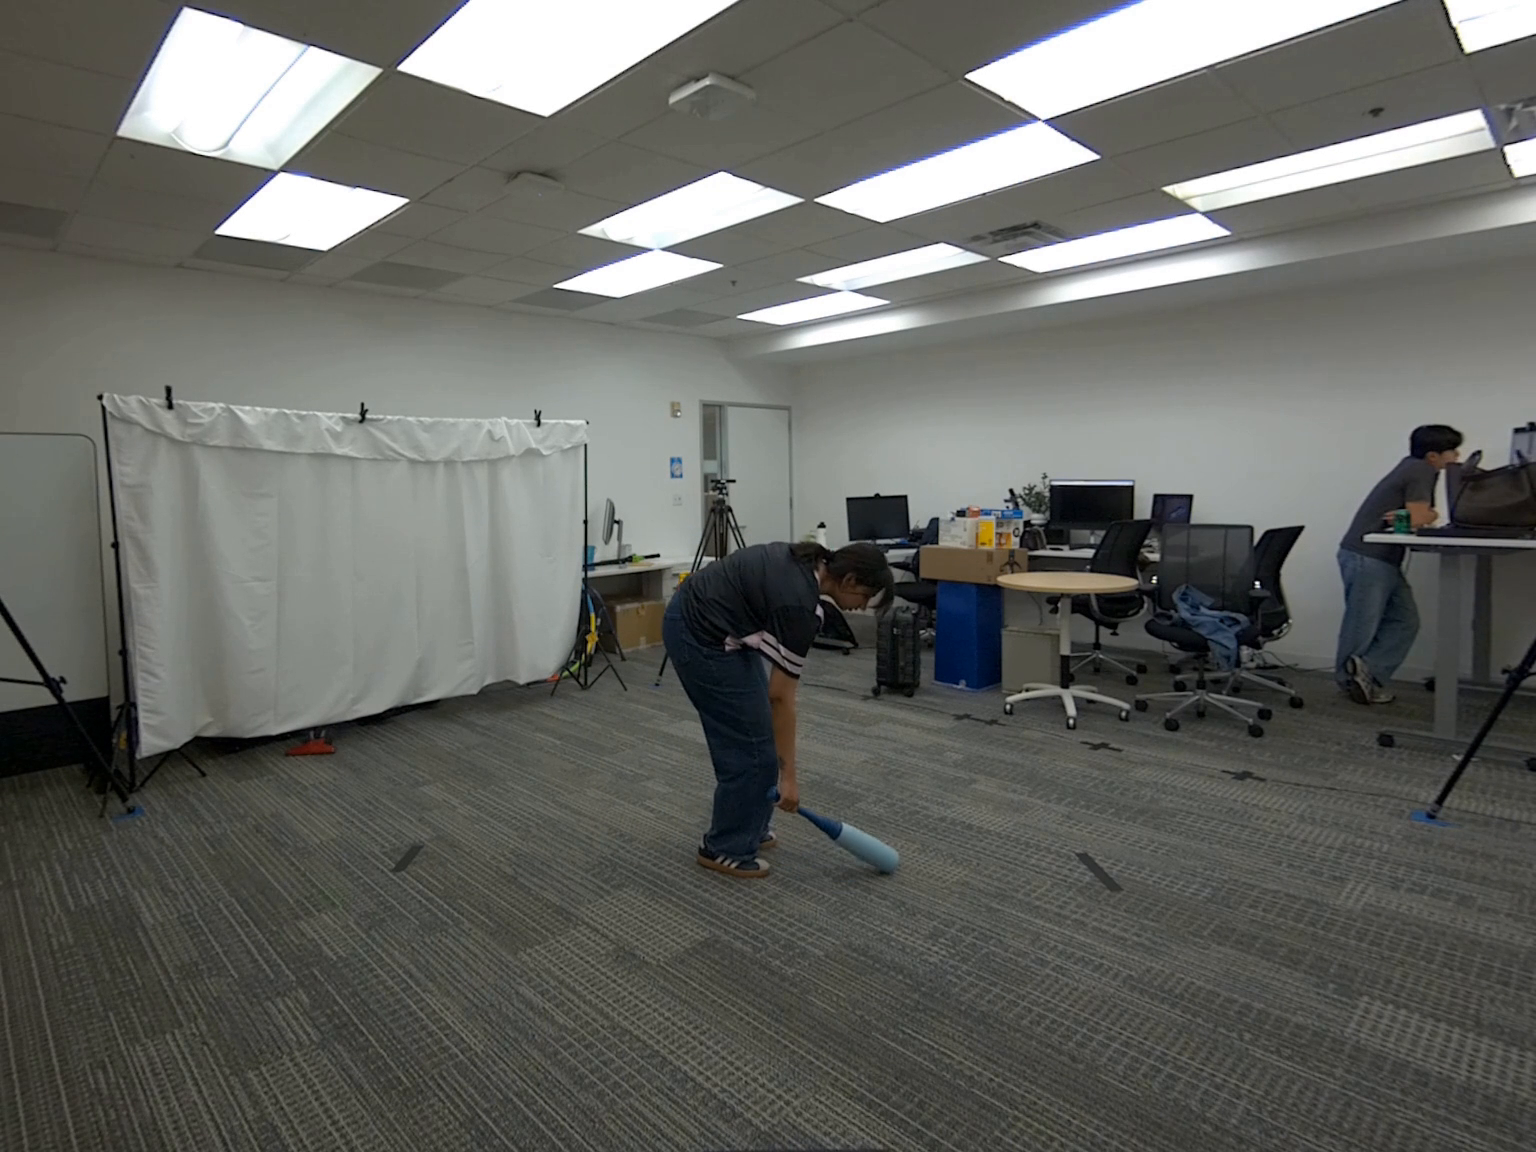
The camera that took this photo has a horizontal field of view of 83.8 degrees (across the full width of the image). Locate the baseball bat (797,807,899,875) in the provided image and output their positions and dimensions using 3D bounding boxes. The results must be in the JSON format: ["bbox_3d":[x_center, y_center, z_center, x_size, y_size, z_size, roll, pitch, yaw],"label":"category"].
[{"bbox_3d":[0.215,0.879,2.984,0.535,0.089,0.090,31,-3,-12],"label":"baseball bat"}]
